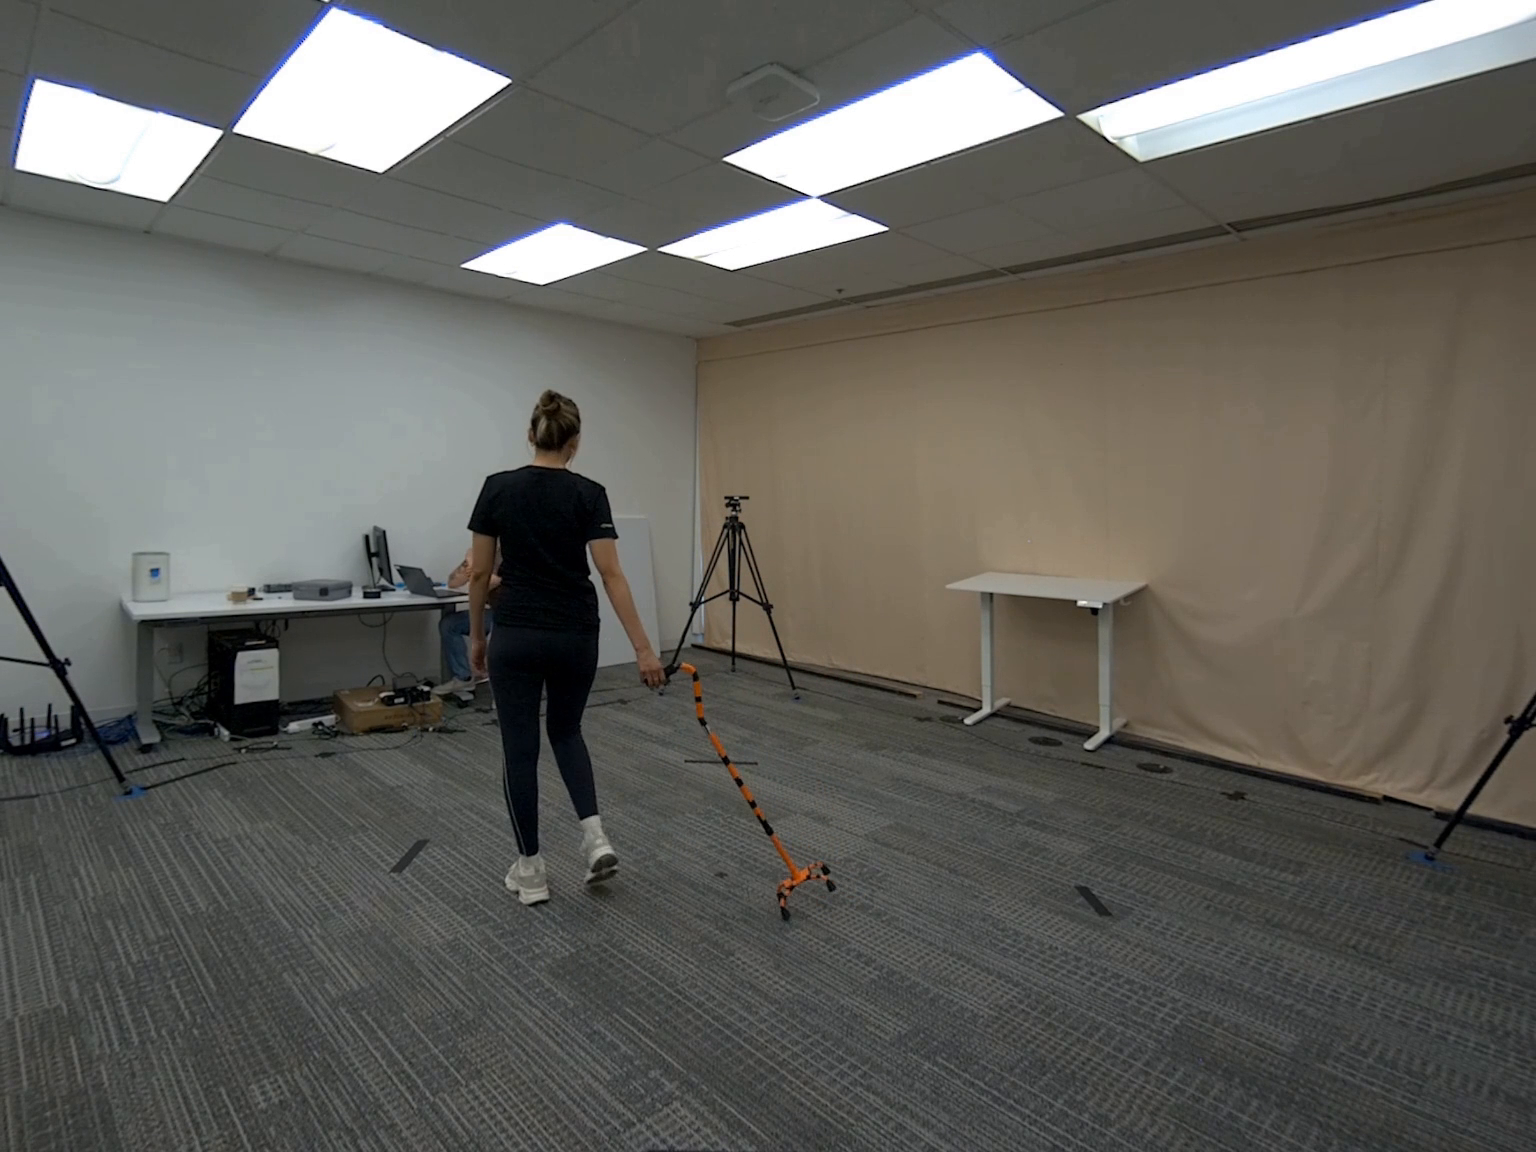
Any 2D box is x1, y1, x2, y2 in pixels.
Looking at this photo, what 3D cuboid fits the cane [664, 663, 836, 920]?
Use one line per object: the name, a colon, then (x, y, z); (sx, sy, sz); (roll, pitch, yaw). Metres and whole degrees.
cane: (-0.099, 0.697, 2.816); (0.206, 0.905, 0.152); (-31, 3, -3)
